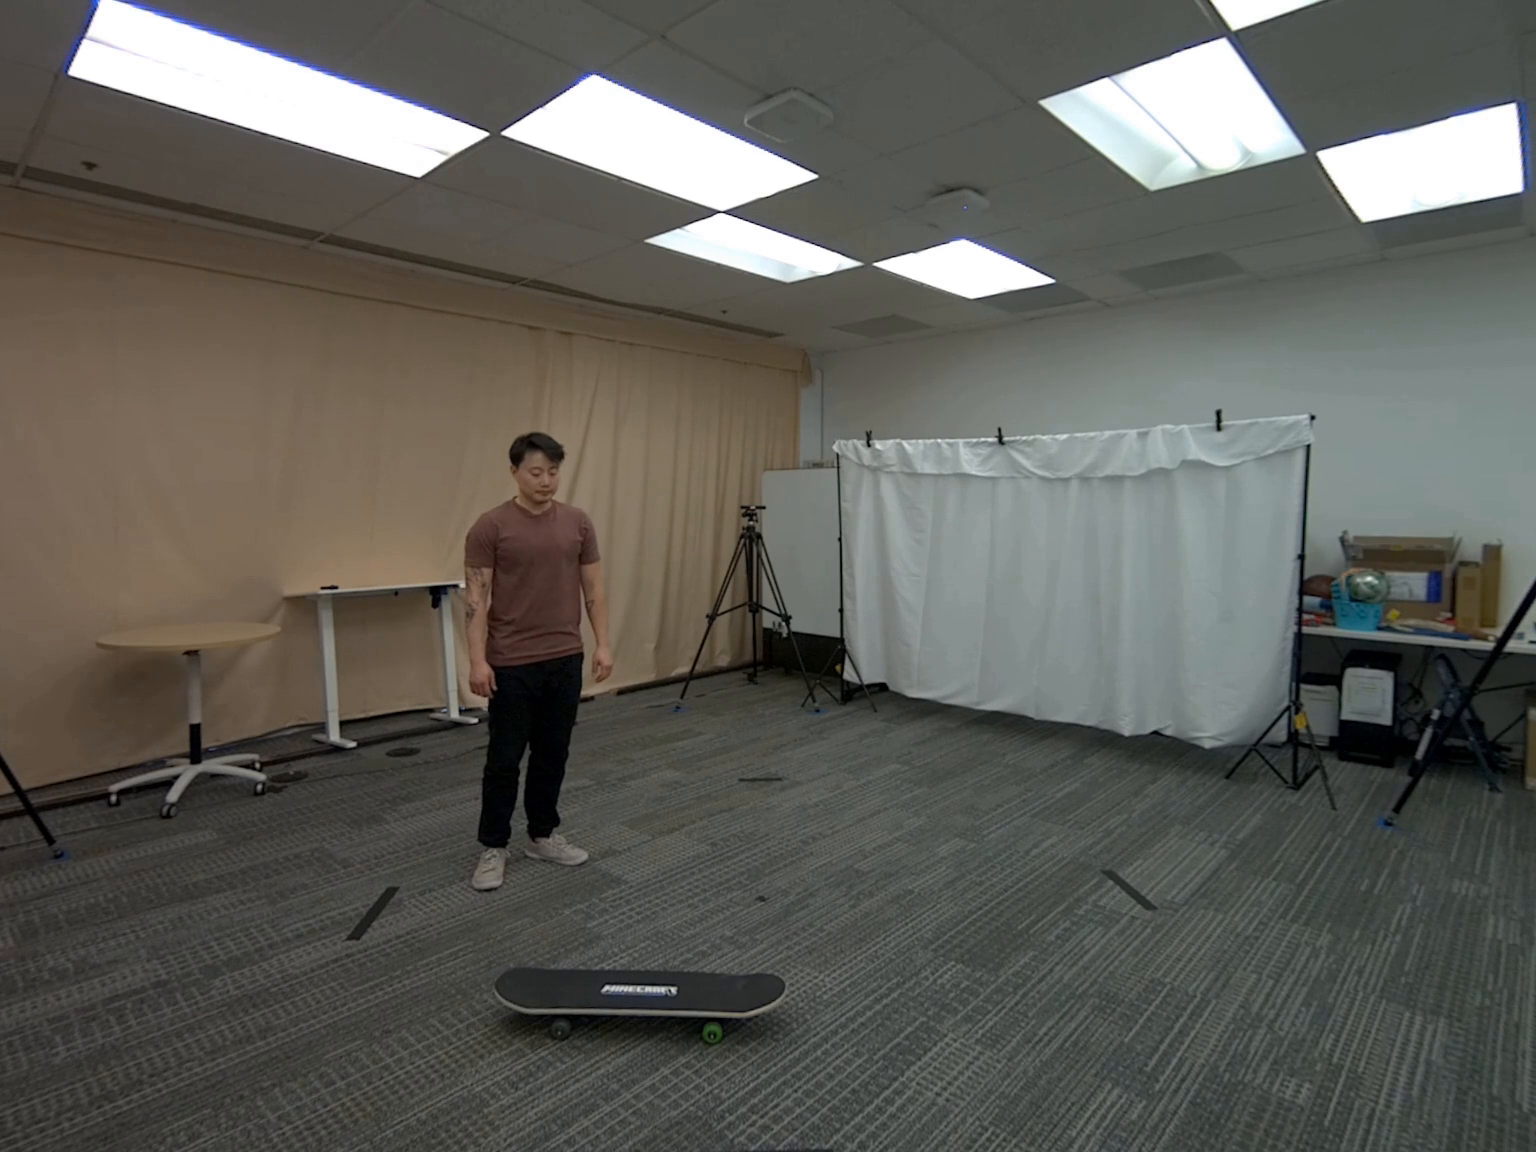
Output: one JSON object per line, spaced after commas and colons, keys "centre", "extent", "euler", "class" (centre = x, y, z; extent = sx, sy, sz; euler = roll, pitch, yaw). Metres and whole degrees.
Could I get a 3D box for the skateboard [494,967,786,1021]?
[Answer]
{"centre": [-0.344, 1.152, 2.263], "extent": [0.789, 0.110, 0.193], "euler": [0, 3, 4], "class": "skateboard"}
